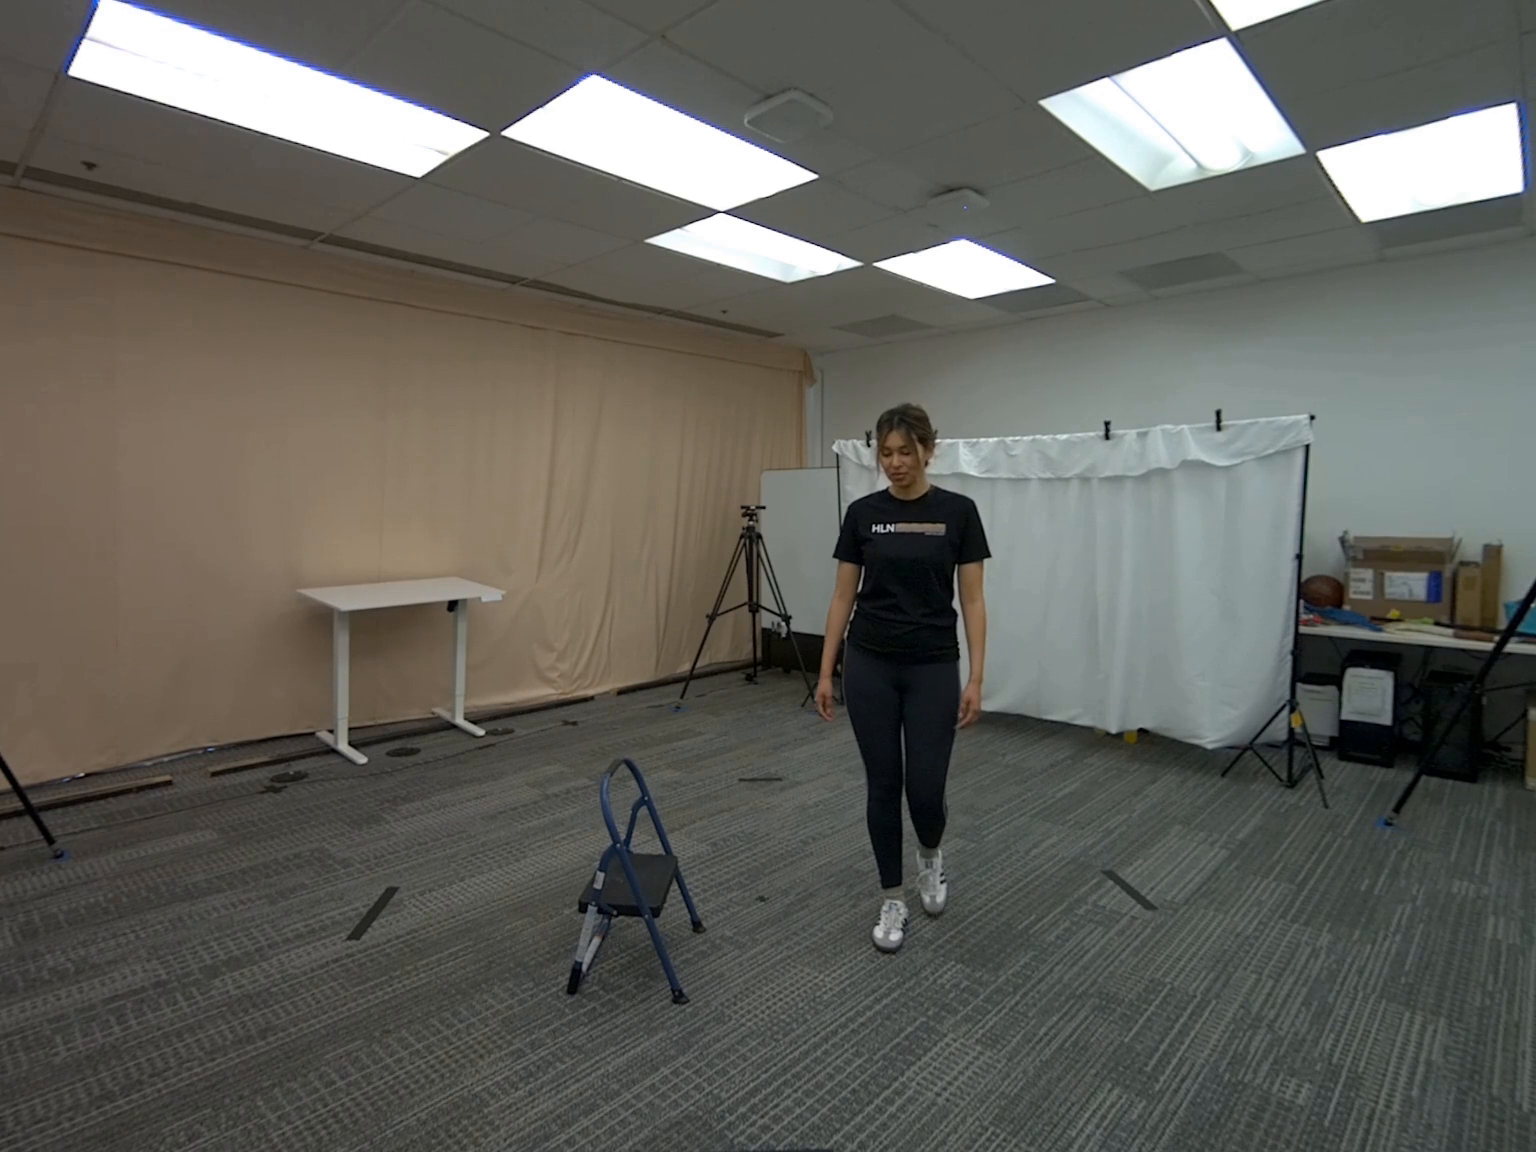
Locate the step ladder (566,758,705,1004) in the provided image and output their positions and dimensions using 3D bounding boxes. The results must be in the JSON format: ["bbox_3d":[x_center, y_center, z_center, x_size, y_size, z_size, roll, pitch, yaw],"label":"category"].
[{"bbox_3d":[-0.392,0.883,2.568,0.351,0.605,0.429,0,4,4],"label":"step ladder"}]
